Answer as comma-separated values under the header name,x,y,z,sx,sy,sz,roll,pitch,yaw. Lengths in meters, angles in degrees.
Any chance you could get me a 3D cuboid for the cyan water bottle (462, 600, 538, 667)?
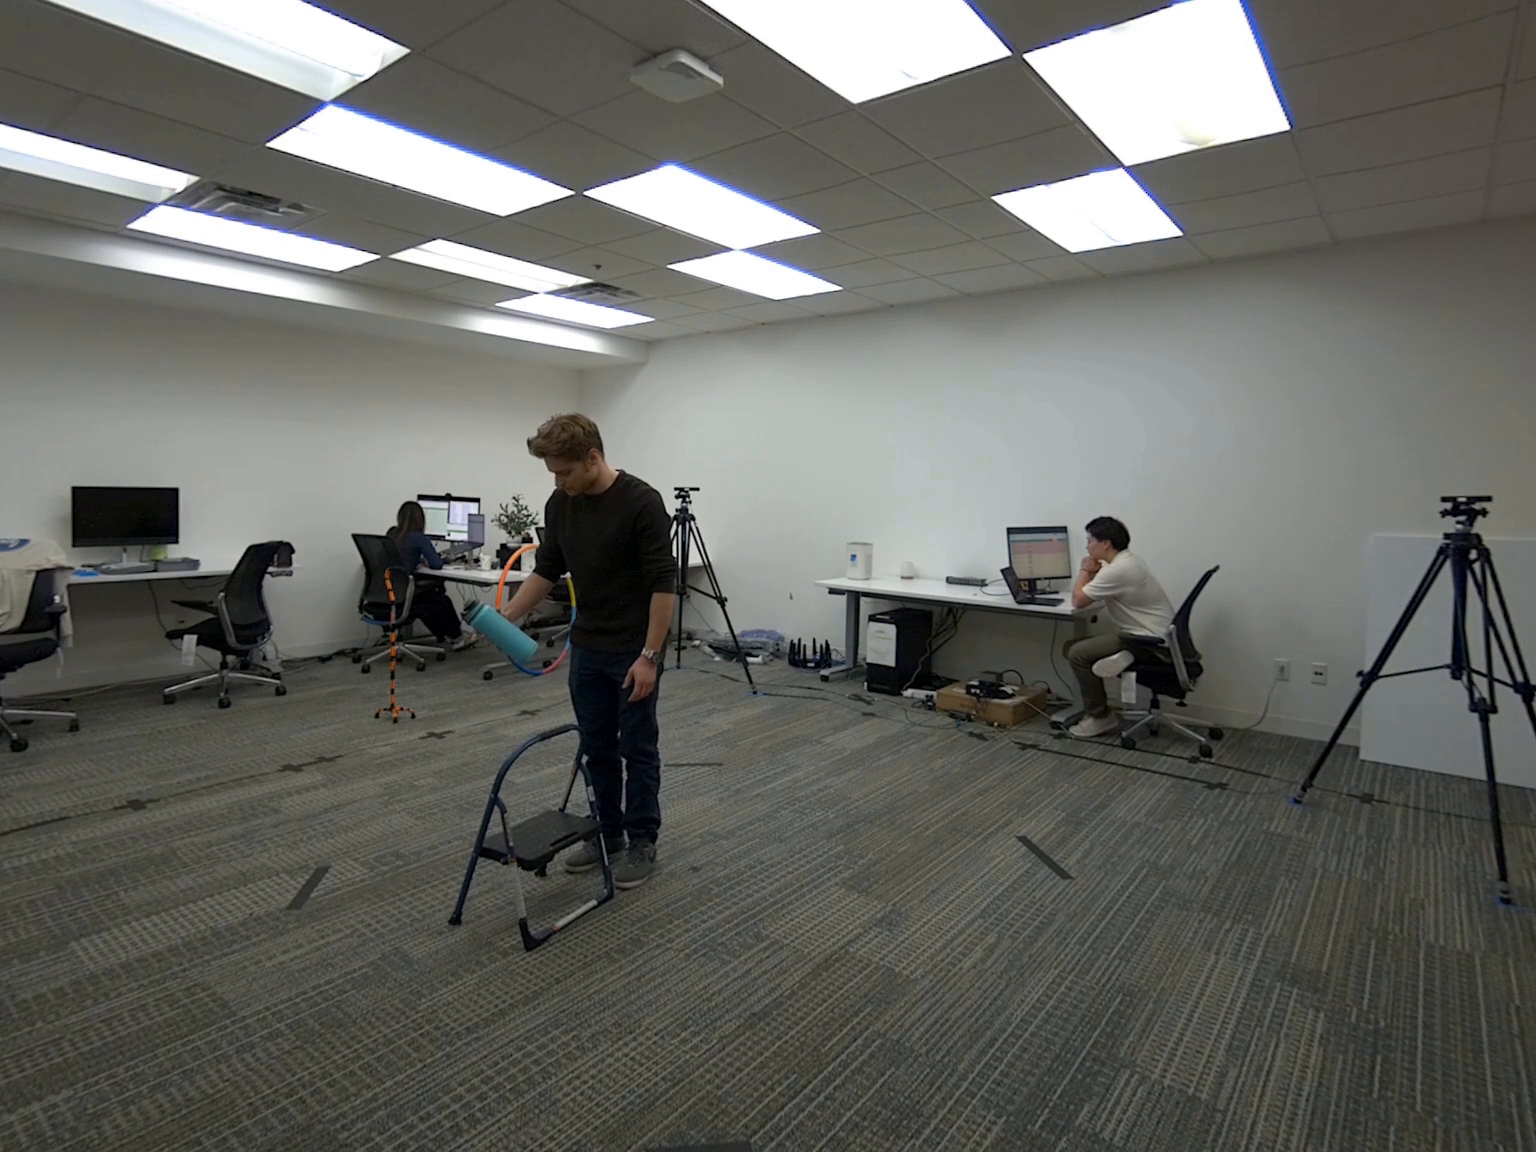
name,x,y,z,sx,sy,sz,roll,pitch,yaw
cyan water bottle,-0.930,0.185,2.859,0.279,0.092,0.094,39,-5,-11
